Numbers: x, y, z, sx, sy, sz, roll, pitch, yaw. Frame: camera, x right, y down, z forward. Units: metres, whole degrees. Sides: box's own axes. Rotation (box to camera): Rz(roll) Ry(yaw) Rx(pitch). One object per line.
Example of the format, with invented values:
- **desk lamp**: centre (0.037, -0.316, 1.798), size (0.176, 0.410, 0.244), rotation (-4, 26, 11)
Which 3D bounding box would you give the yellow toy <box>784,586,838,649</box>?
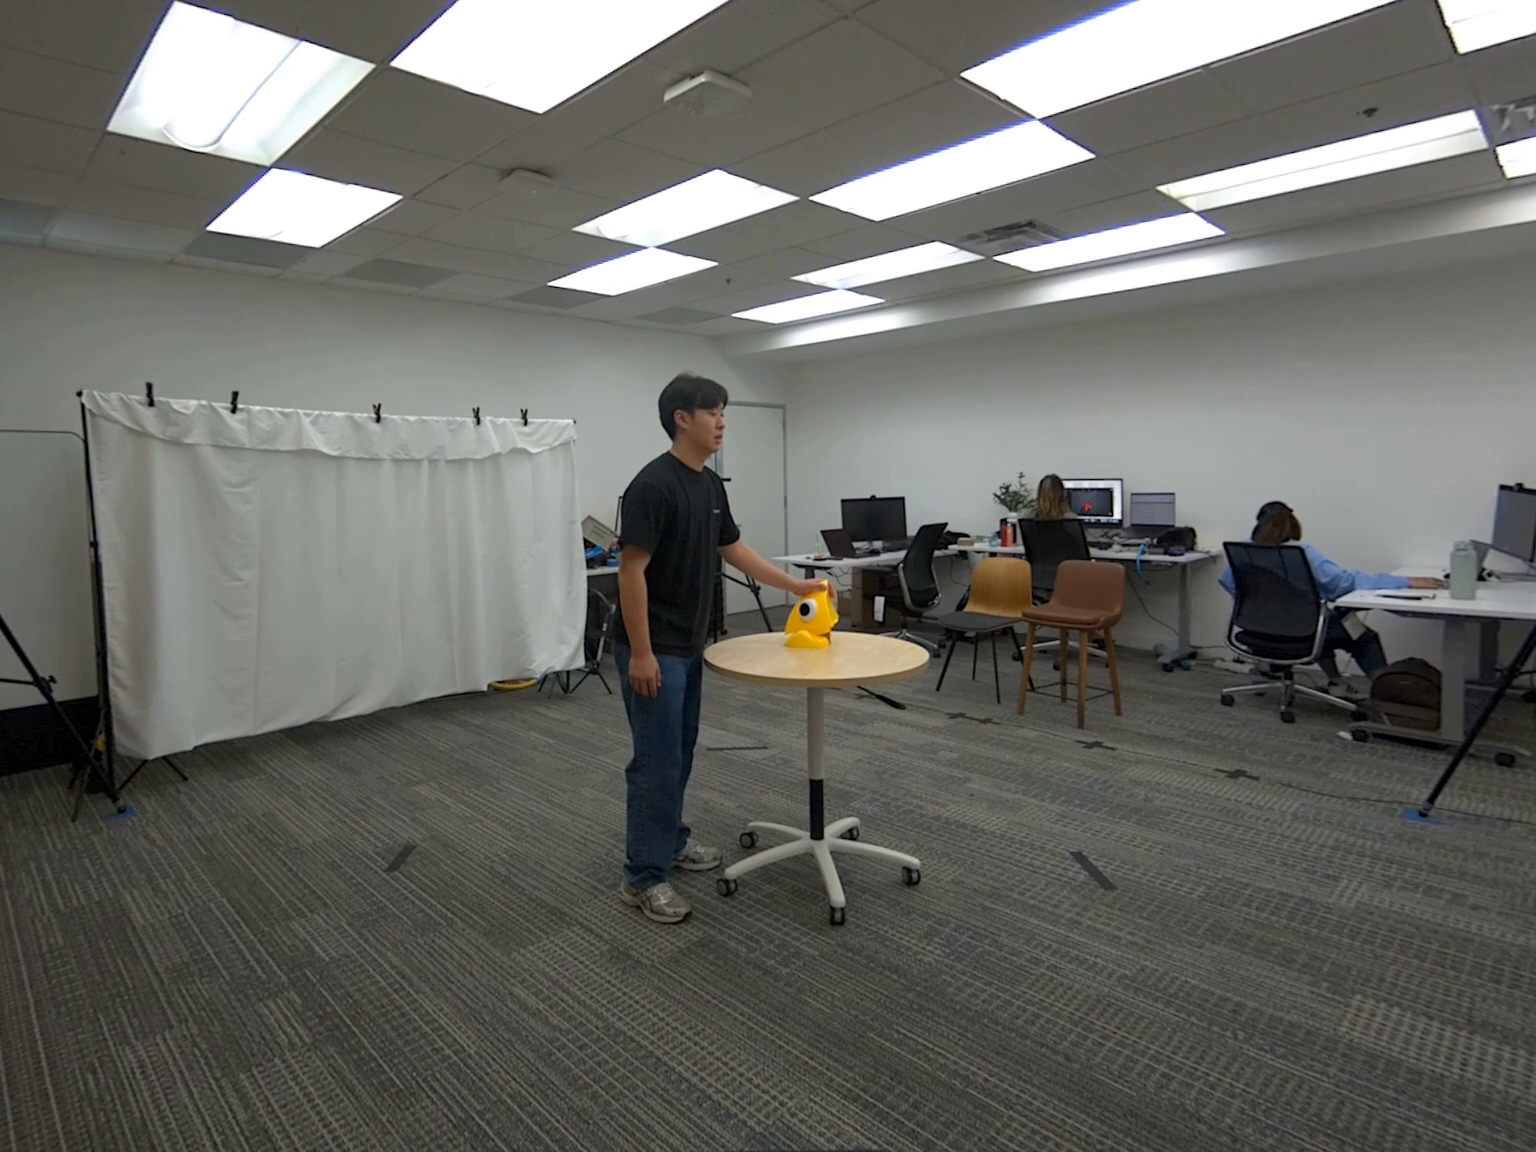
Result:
- **yellow toy**: centre (0.154, 0.129, 3.091), size (0.195, 0.230, 0.203), rotation (0, 4, 12)
